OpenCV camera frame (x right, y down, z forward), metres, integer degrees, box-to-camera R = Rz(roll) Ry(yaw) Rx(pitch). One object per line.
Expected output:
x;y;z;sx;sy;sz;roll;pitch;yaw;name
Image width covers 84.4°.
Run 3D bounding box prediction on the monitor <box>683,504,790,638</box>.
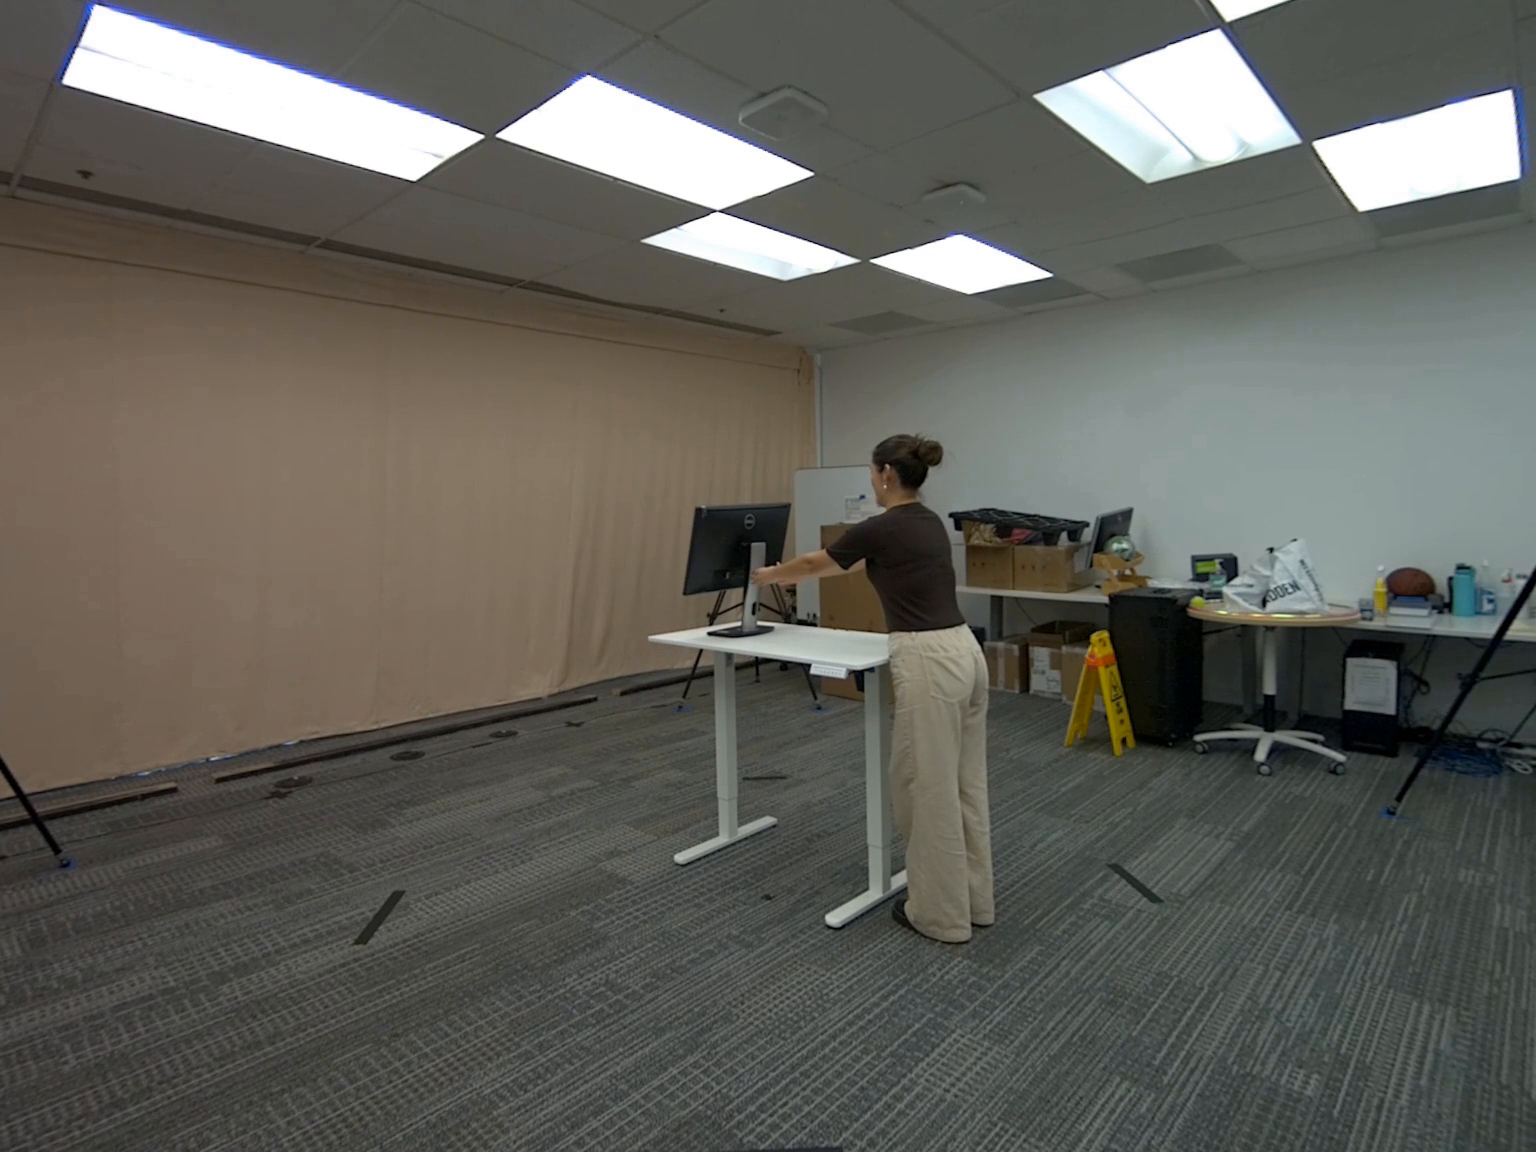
-0.095;-0.023;3.358;0.193;0.521;0.523;5;7;42;monitor
